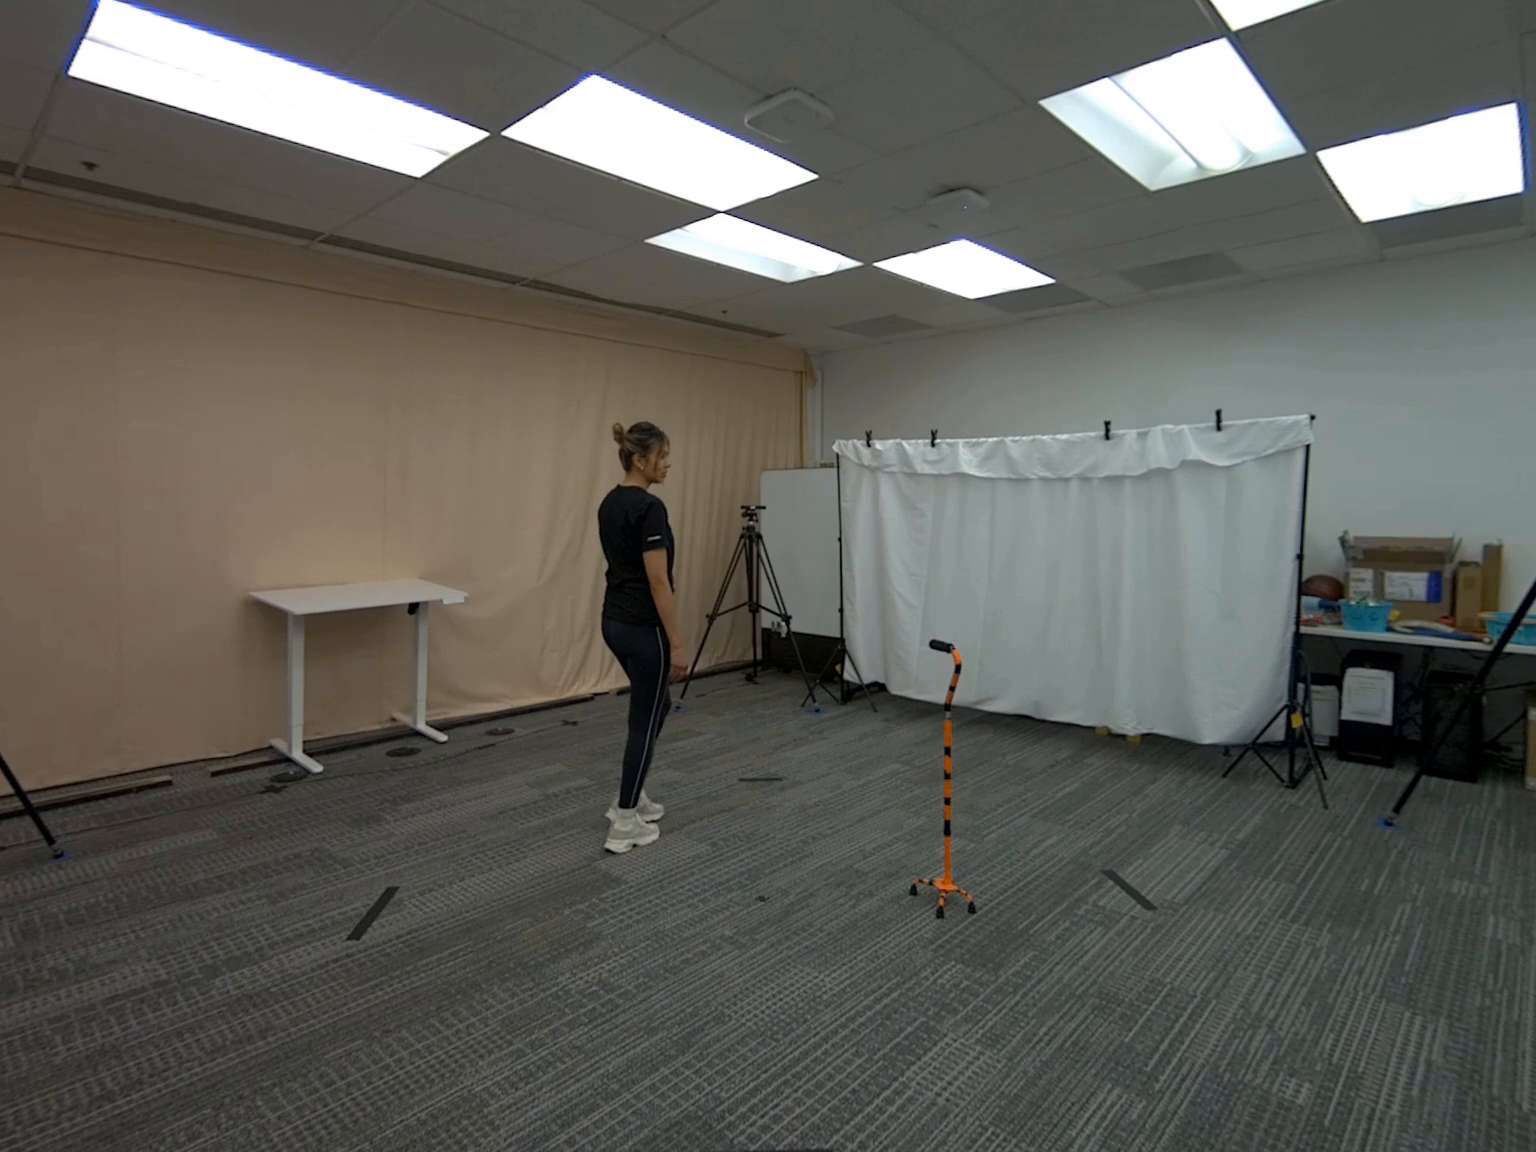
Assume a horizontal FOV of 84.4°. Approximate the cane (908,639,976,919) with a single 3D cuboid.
[{"bbox_3d":[0.616,0.692,2.928,0.149,0.906,0.210,0,3,-18],"label":"cane"}]
